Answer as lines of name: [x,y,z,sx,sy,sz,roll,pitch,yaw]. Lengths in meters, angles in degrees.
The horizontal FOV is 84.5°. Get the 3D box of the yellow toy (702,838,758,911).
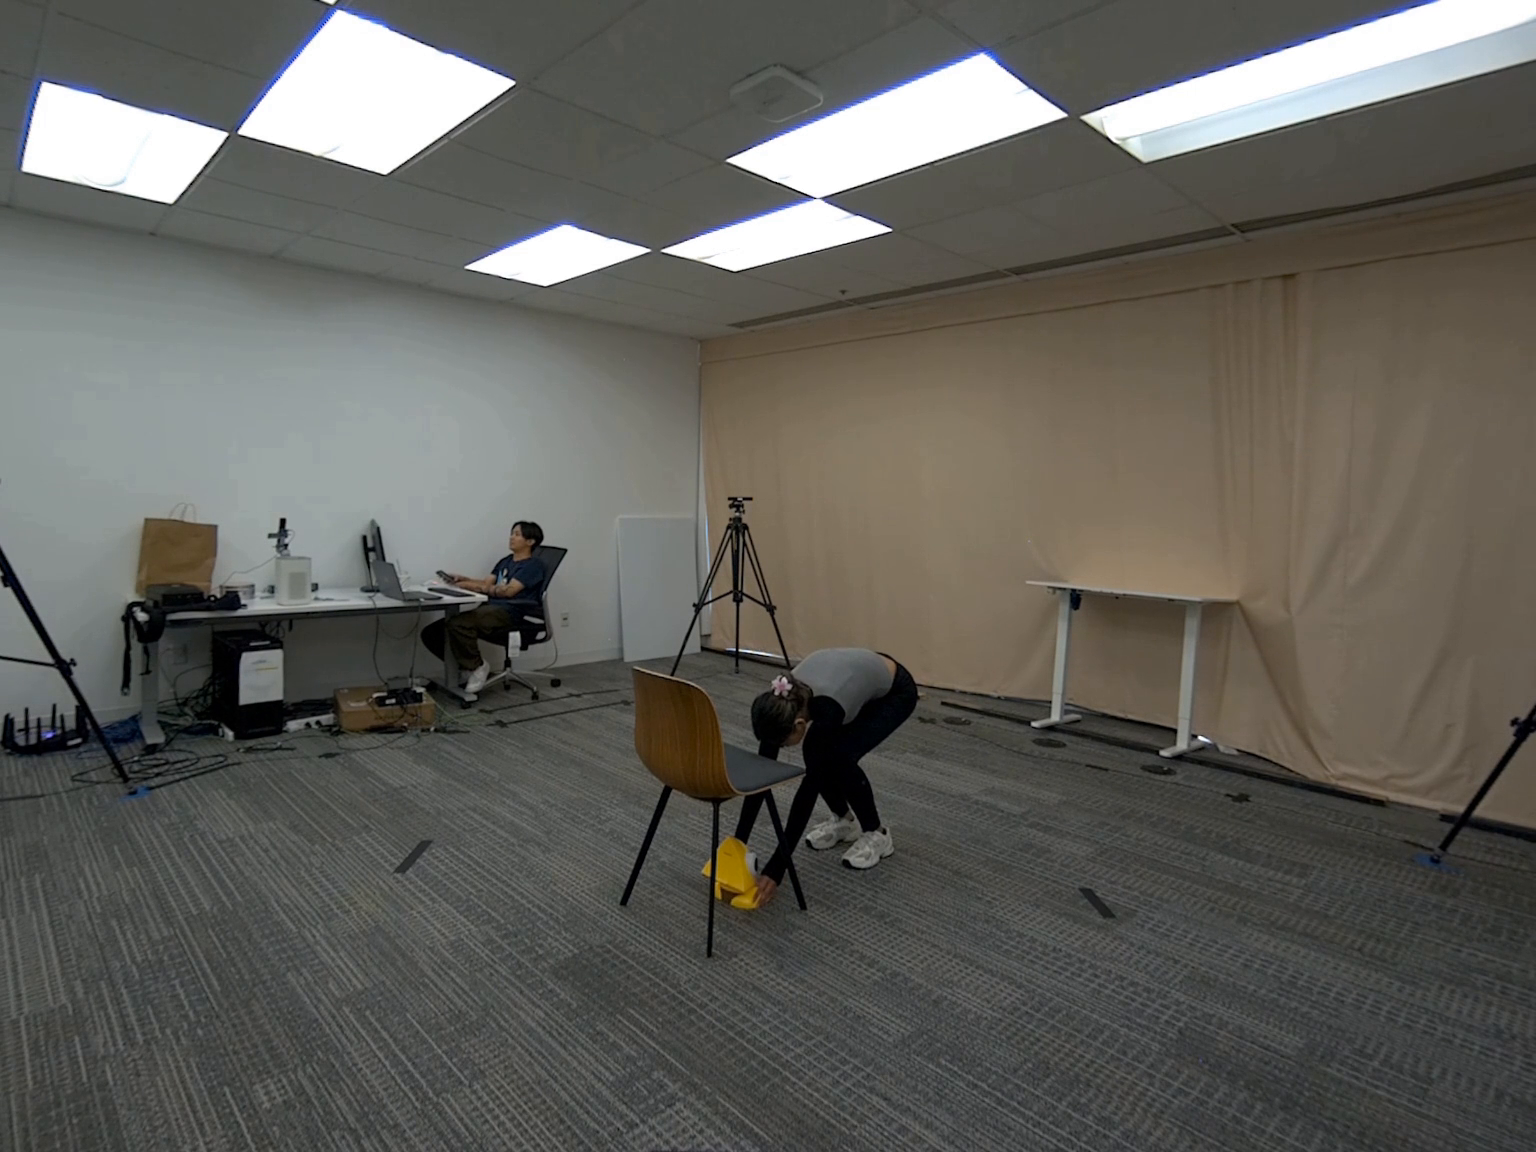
yellow toy: [-0.101,1.014,2.947,0.210,0.230,0.189,4,6,43]
